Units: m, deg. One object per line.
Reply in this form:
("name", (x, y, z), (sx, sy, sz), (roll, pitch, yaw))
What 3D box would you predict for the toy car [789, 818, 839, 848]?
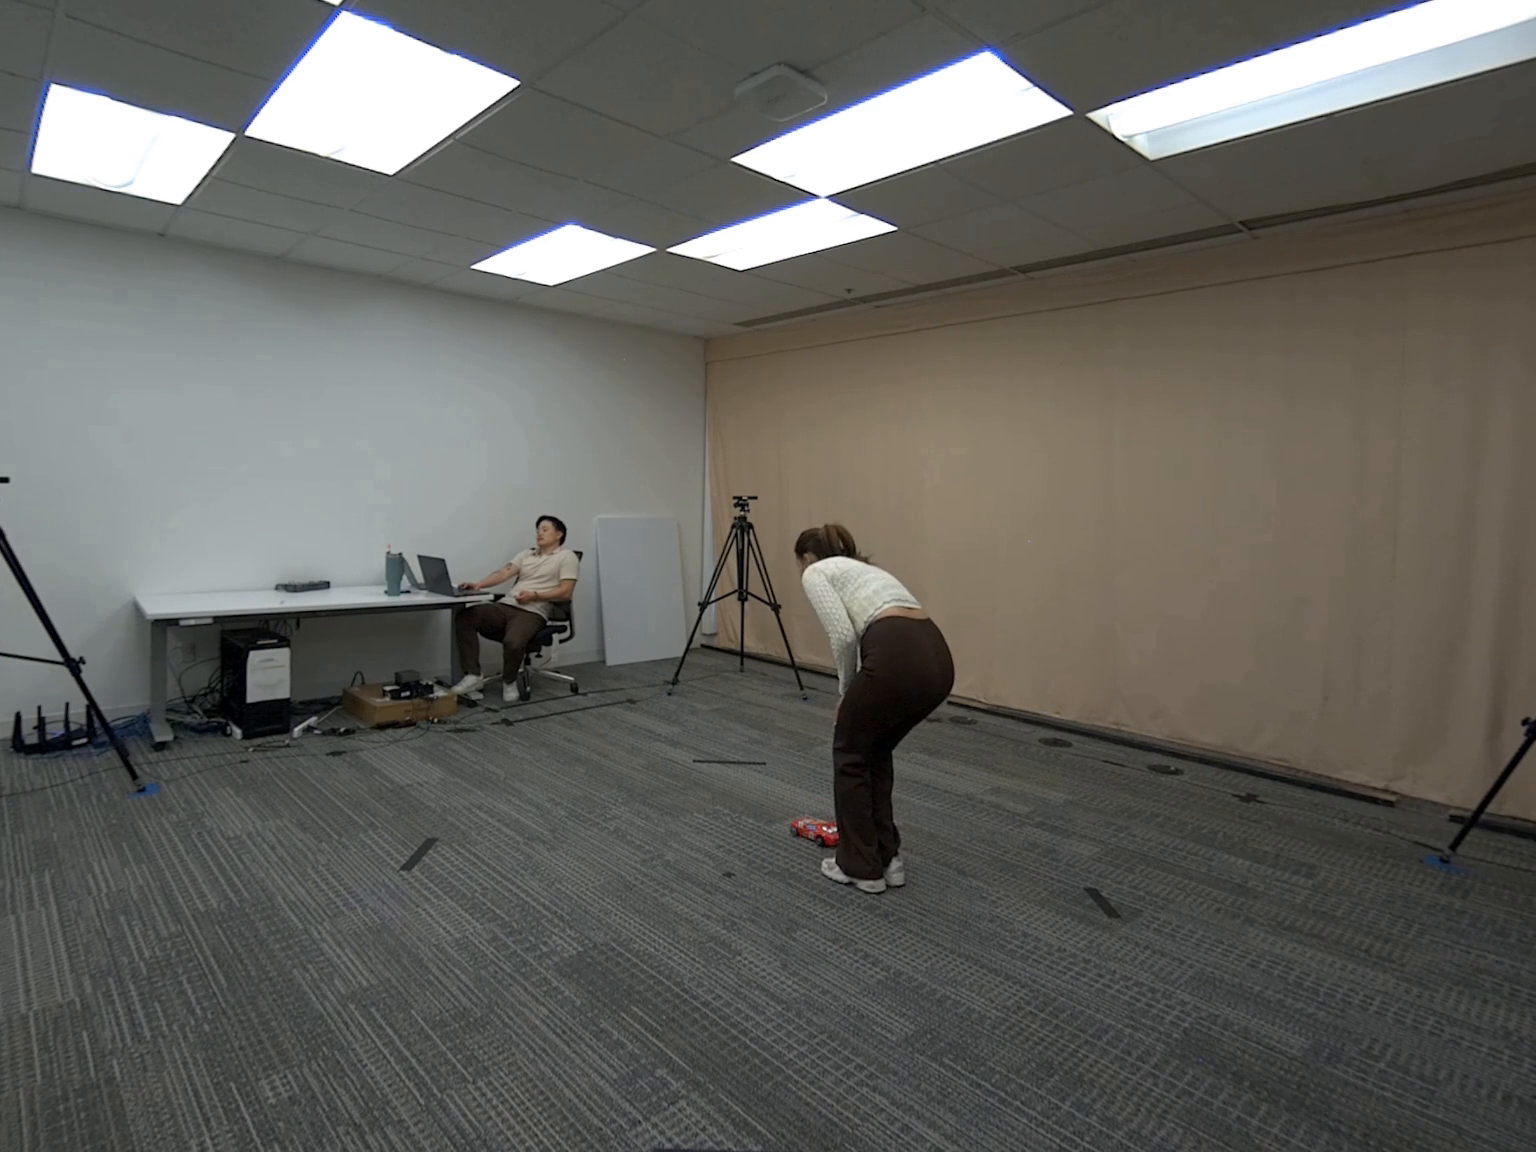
("toy car", (0.196, 1.048, 3.444), (0.127, 0.083, 0.259), (-1, -5, -43))
